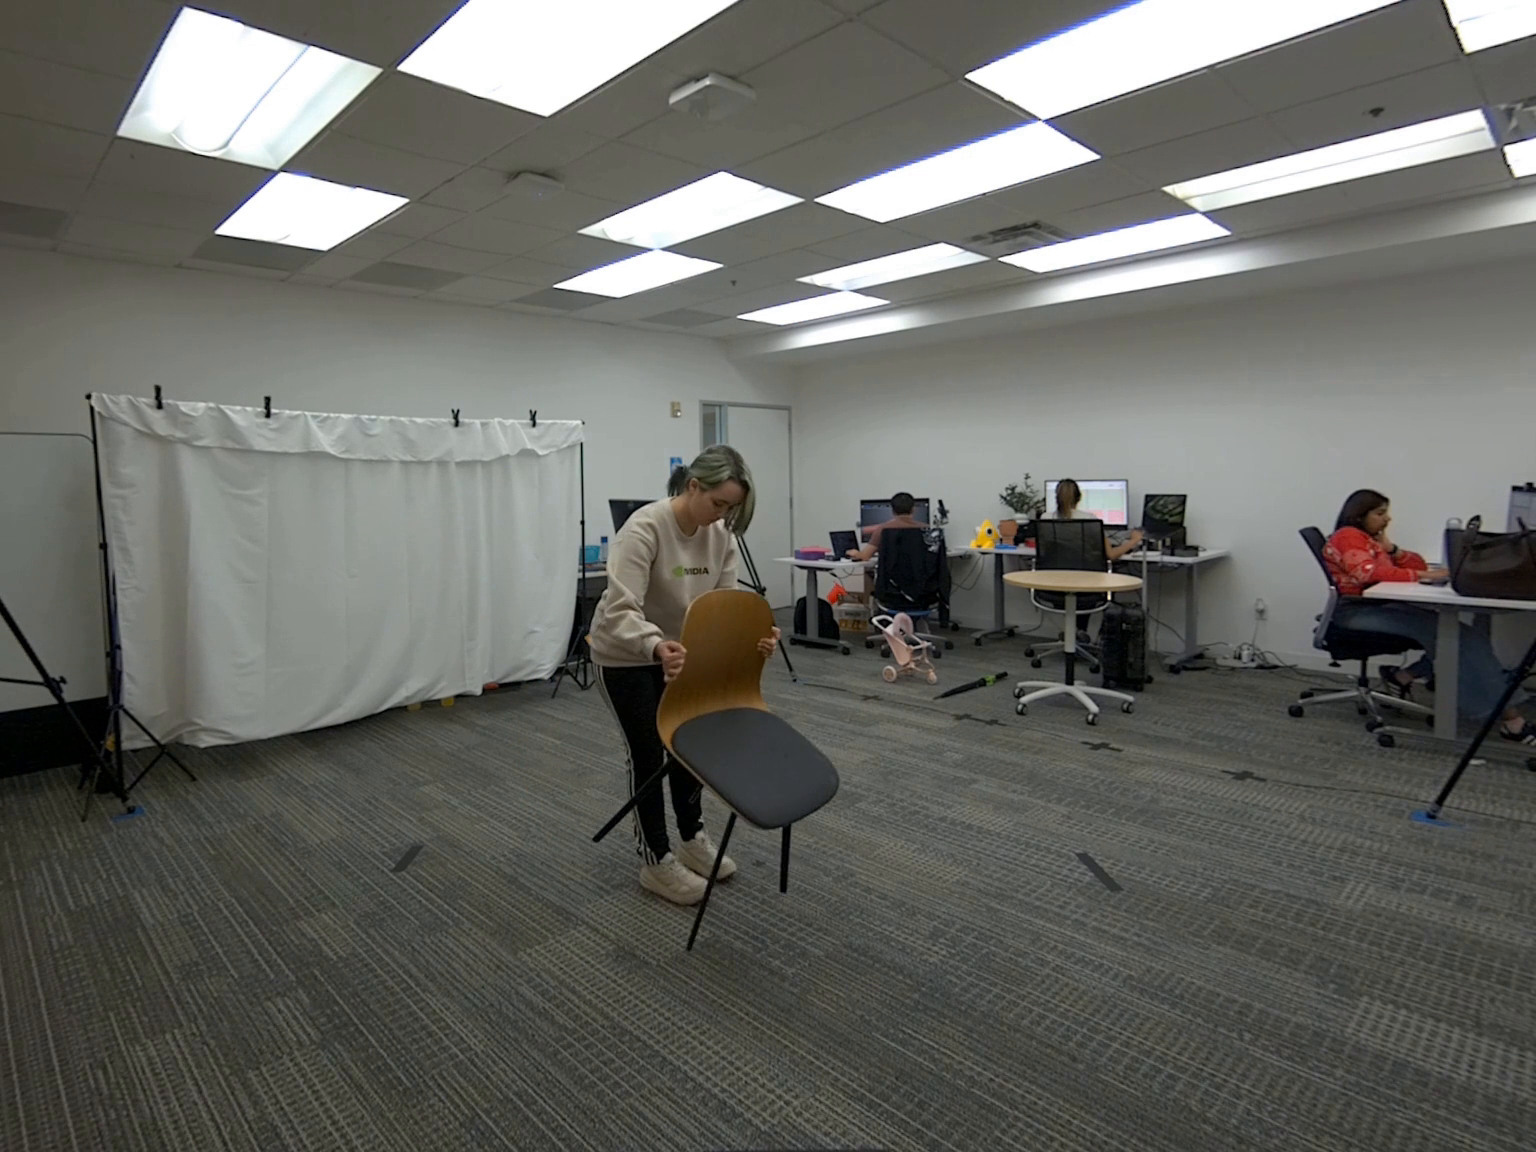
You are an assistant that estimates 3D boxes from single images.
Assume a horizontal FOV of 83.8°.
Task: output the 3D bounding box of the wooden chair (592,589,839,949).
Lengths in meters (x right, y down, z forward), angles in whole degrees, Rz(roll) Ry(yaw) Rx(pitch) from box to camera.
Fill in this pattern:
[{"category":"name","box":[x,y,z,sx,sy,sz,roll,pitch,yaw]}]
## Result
[{"category":"wooden chair","box":[-0.079,0.548,2.505,0.542,0.869,0.465,30,21,34]}]
